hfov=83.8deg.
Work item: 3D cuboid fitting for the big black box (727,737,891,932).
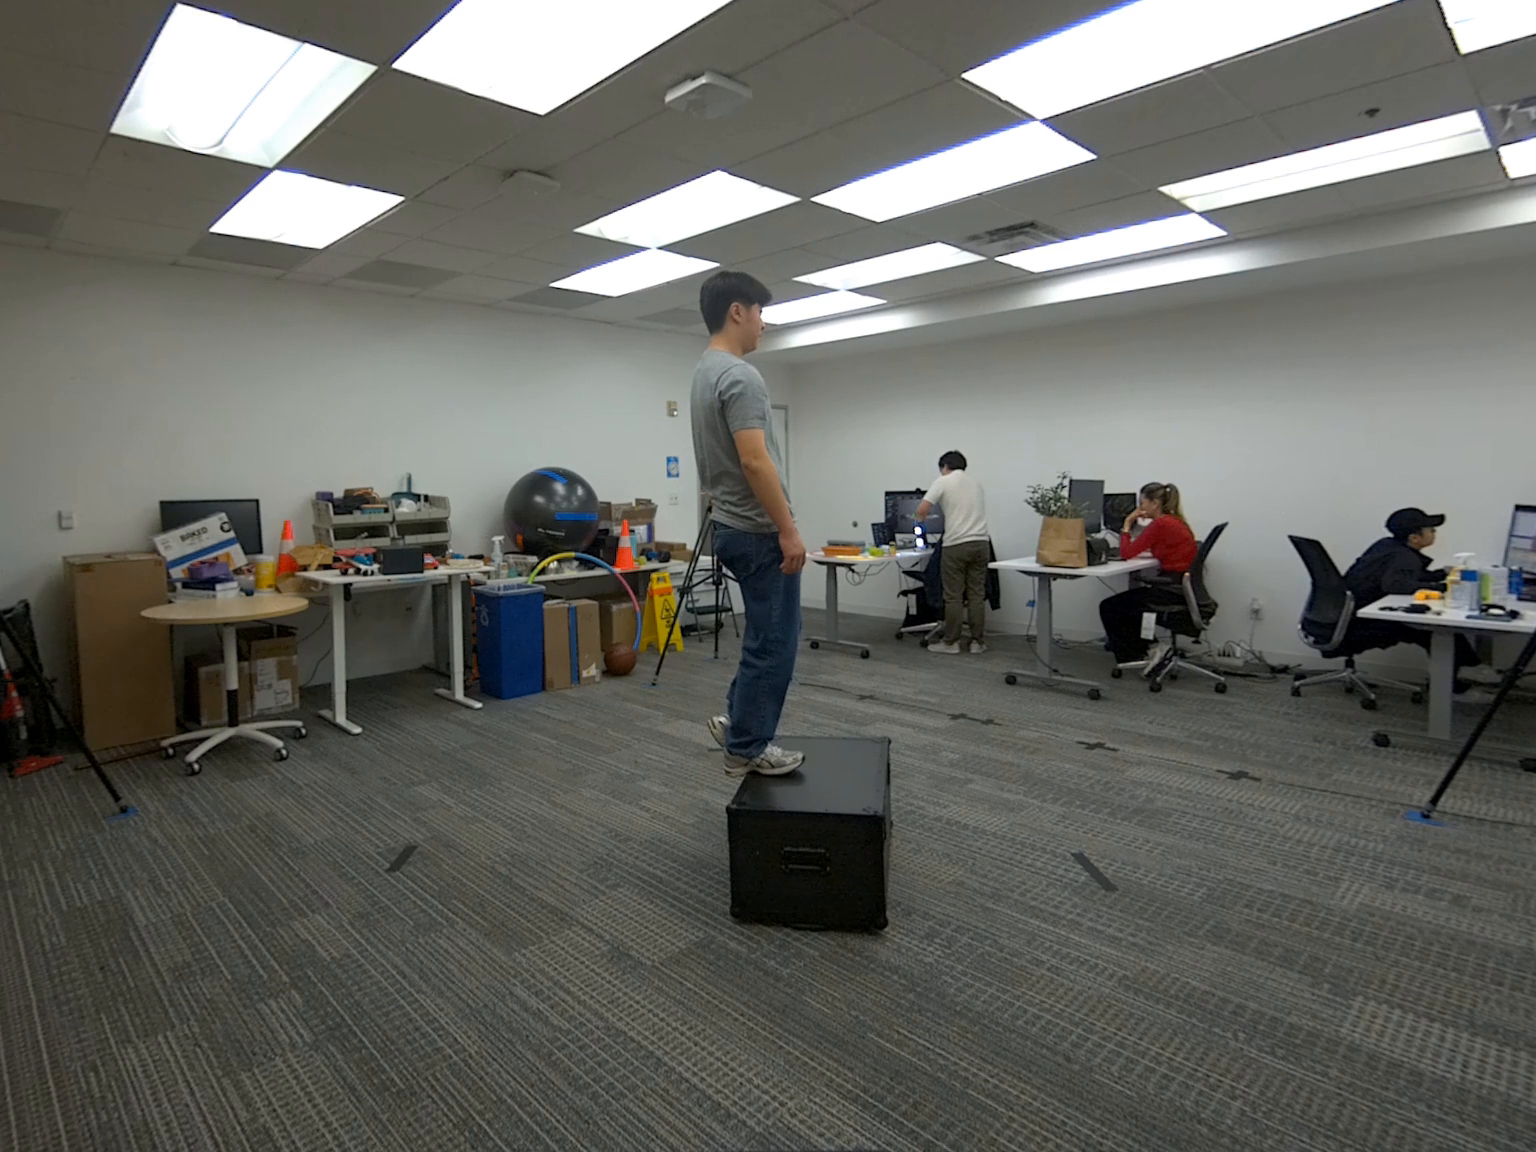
[{"bbox_3d":[0.187,0.855,3.032,0.527,0.394,0.856,-1,6,11],"label":"big black box"}]
